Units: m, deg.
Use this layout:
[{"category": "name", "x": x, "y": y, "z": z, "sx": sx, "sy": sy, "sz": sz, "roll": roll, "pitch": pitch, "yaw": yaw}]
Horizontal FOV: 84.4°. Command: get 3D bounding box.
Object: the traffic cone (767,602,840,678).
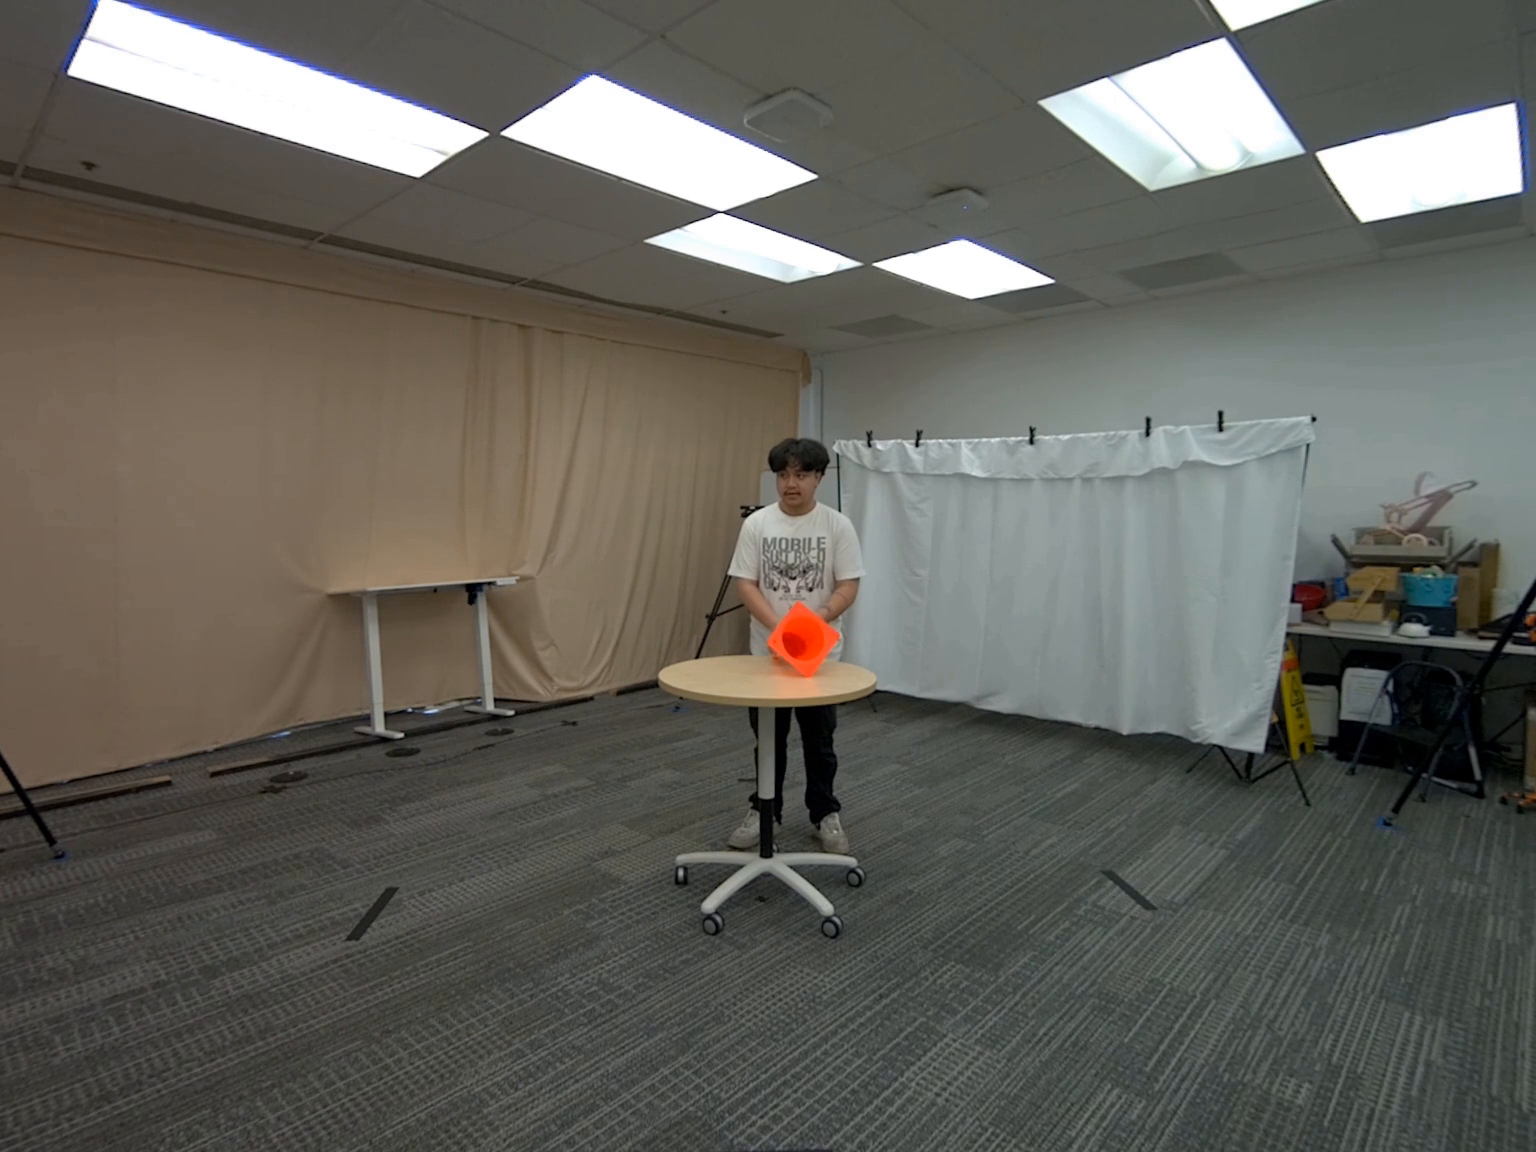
[{"category": "traffic cone", "x": 0.065, "y": 0.266, "z": 3.131, "sx": 0.203, "sy": 0.205, "sz": 0.385, "roll": 29, "pitch": -17, "yaw": -4}]
